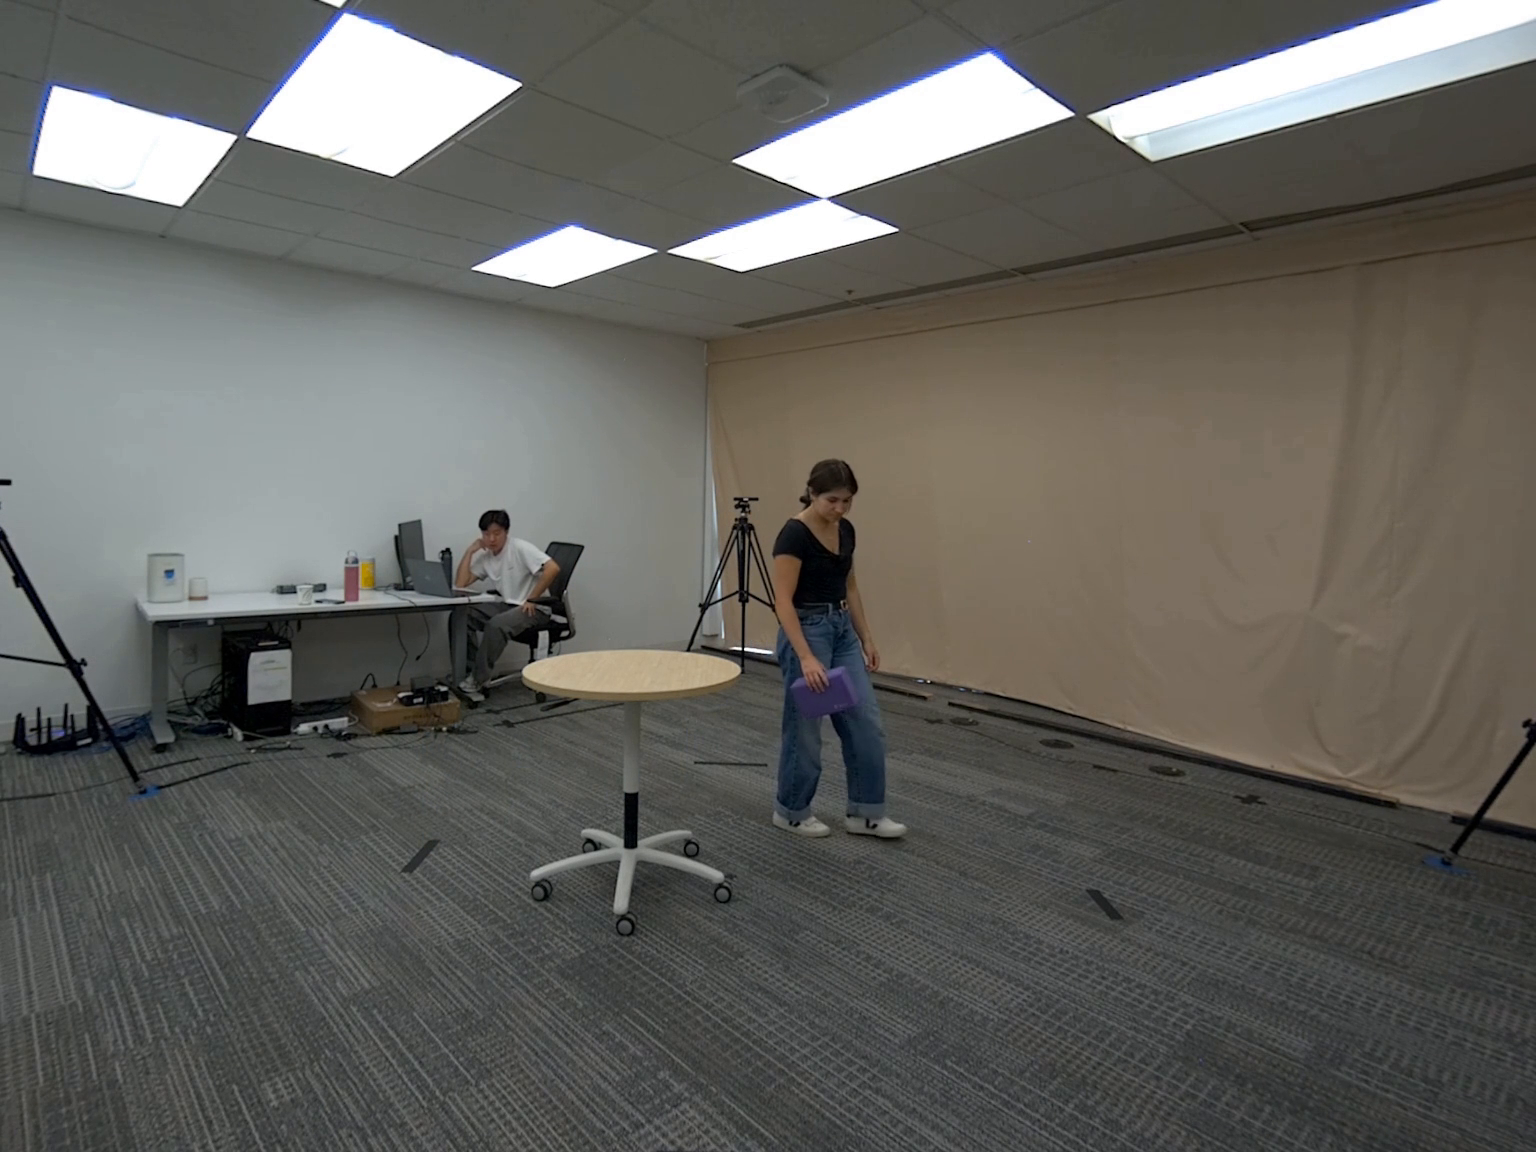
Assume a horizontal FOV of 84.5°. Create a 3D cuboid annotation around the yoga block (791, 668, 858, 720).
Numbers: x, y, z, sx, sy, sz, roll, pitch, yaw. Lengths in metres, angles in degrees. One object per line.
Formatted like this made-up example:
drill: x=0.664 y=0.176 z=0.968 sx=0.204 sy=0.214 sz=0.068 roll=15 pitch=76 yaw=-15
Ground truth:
yoga block: x=0.202 y=0.454 z=3.218 sx=0.232 sy=0.148 sz=0.076 roll=-21 pitch=4 yaw=34
